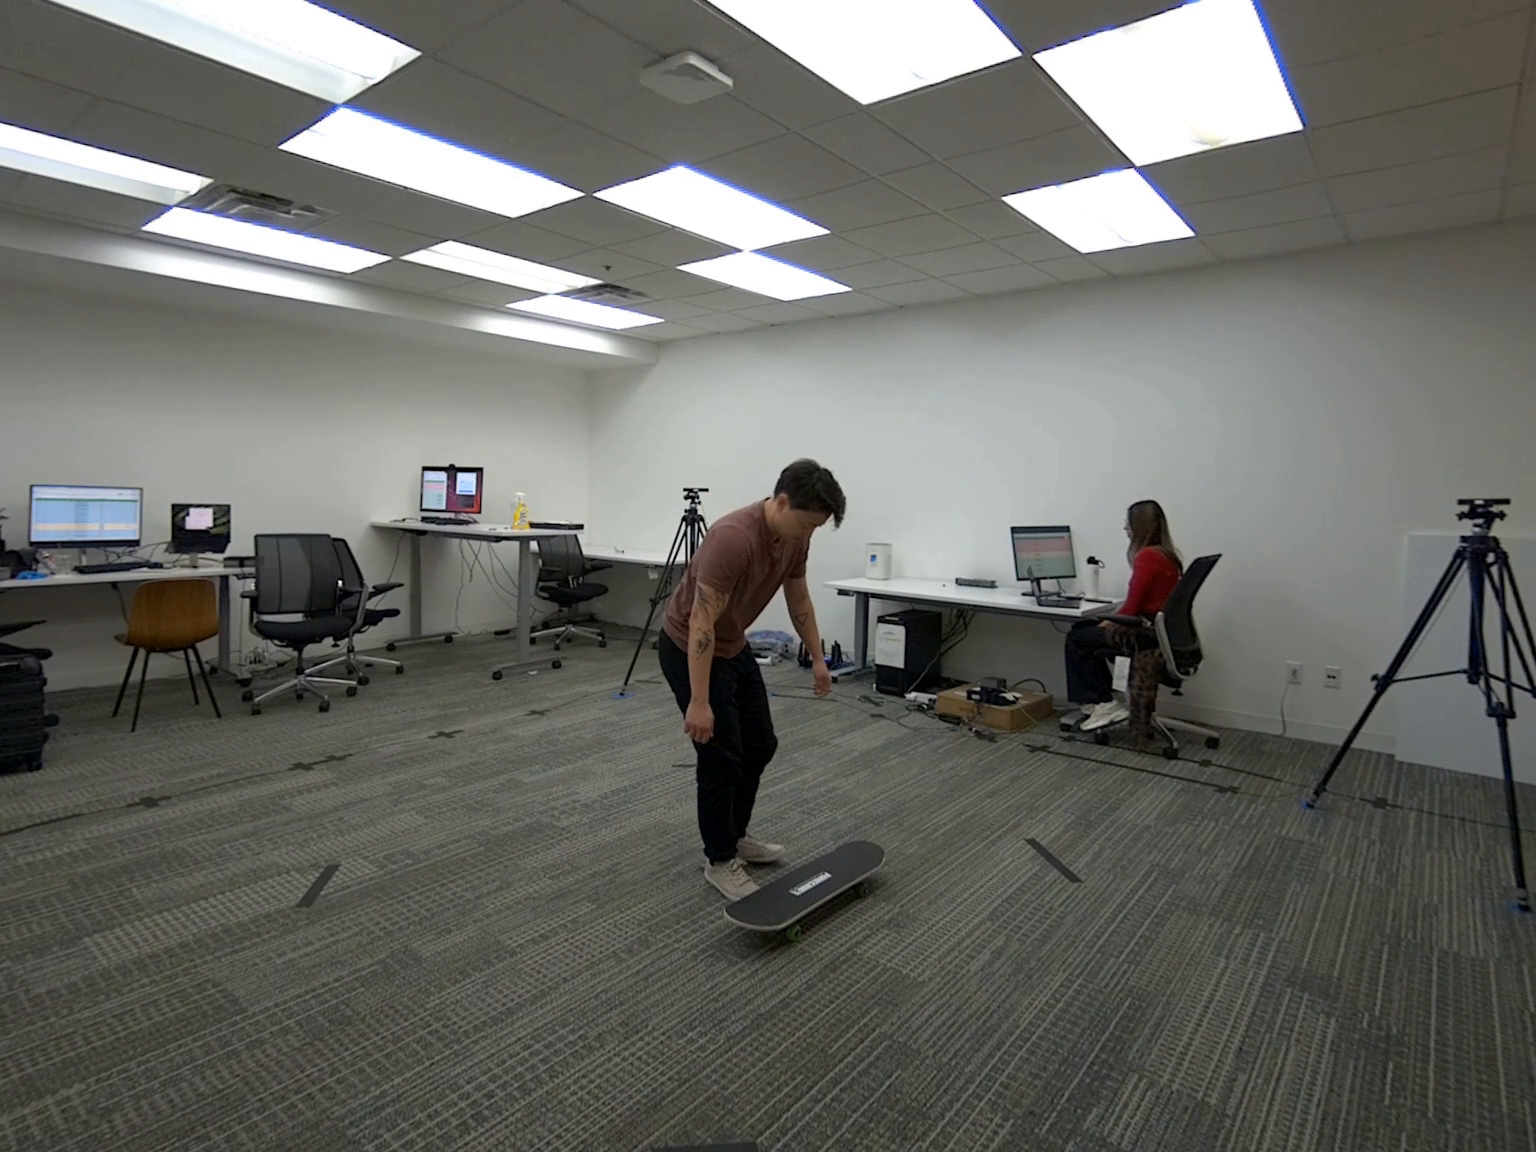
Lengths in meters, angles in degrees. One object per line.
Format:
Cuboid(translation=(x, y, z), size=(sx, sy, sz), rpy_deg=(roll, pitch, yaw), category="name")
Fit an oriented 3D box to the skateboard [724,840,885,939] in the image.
Cuboid(translation=(0.138, 1.049, 2.820), size=(0.200, 0.110, 0.762), rpy_deg=(7, 8, 39), category="skateboard")
